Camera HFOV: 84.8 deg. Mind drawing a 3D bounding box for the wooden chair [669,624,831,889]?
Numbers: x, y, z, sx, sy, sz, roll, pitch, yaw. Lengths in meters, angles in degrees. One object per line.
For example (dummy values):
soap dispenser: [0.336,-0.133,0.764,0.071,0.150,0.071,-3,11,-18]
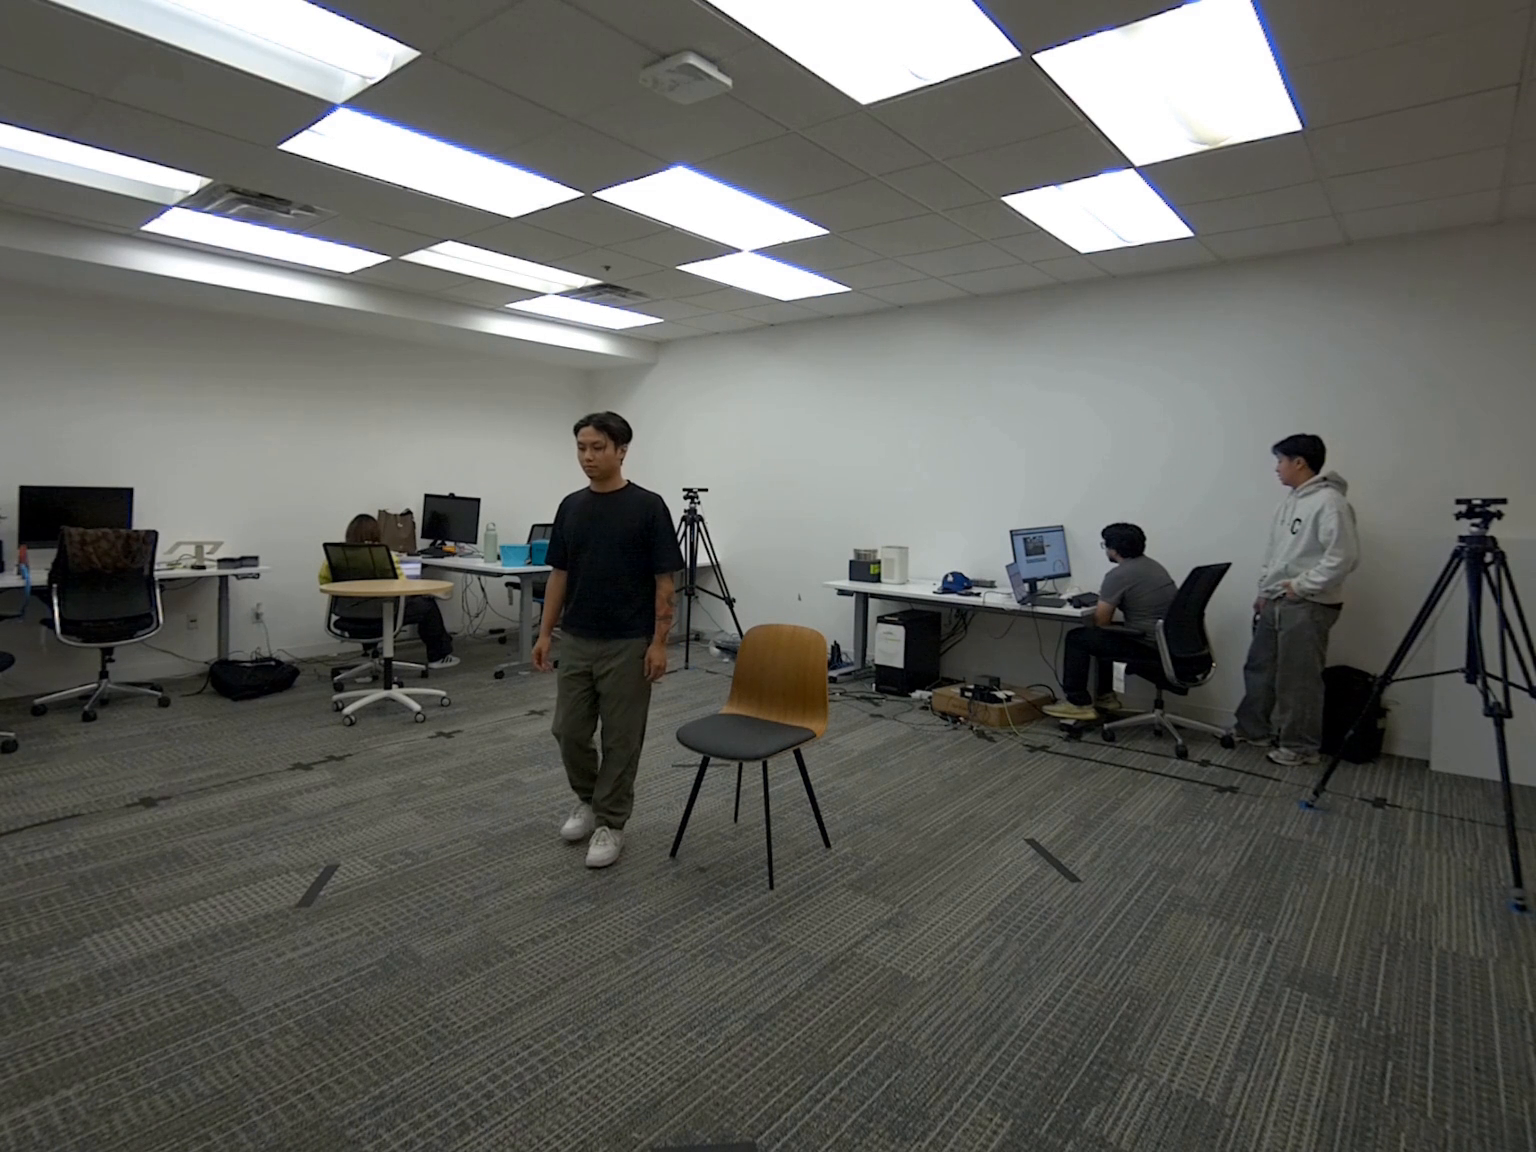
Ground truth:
wooden chair: [-0.063,0.634,3.229,0.493,0.878,0.507,3,0,32]
